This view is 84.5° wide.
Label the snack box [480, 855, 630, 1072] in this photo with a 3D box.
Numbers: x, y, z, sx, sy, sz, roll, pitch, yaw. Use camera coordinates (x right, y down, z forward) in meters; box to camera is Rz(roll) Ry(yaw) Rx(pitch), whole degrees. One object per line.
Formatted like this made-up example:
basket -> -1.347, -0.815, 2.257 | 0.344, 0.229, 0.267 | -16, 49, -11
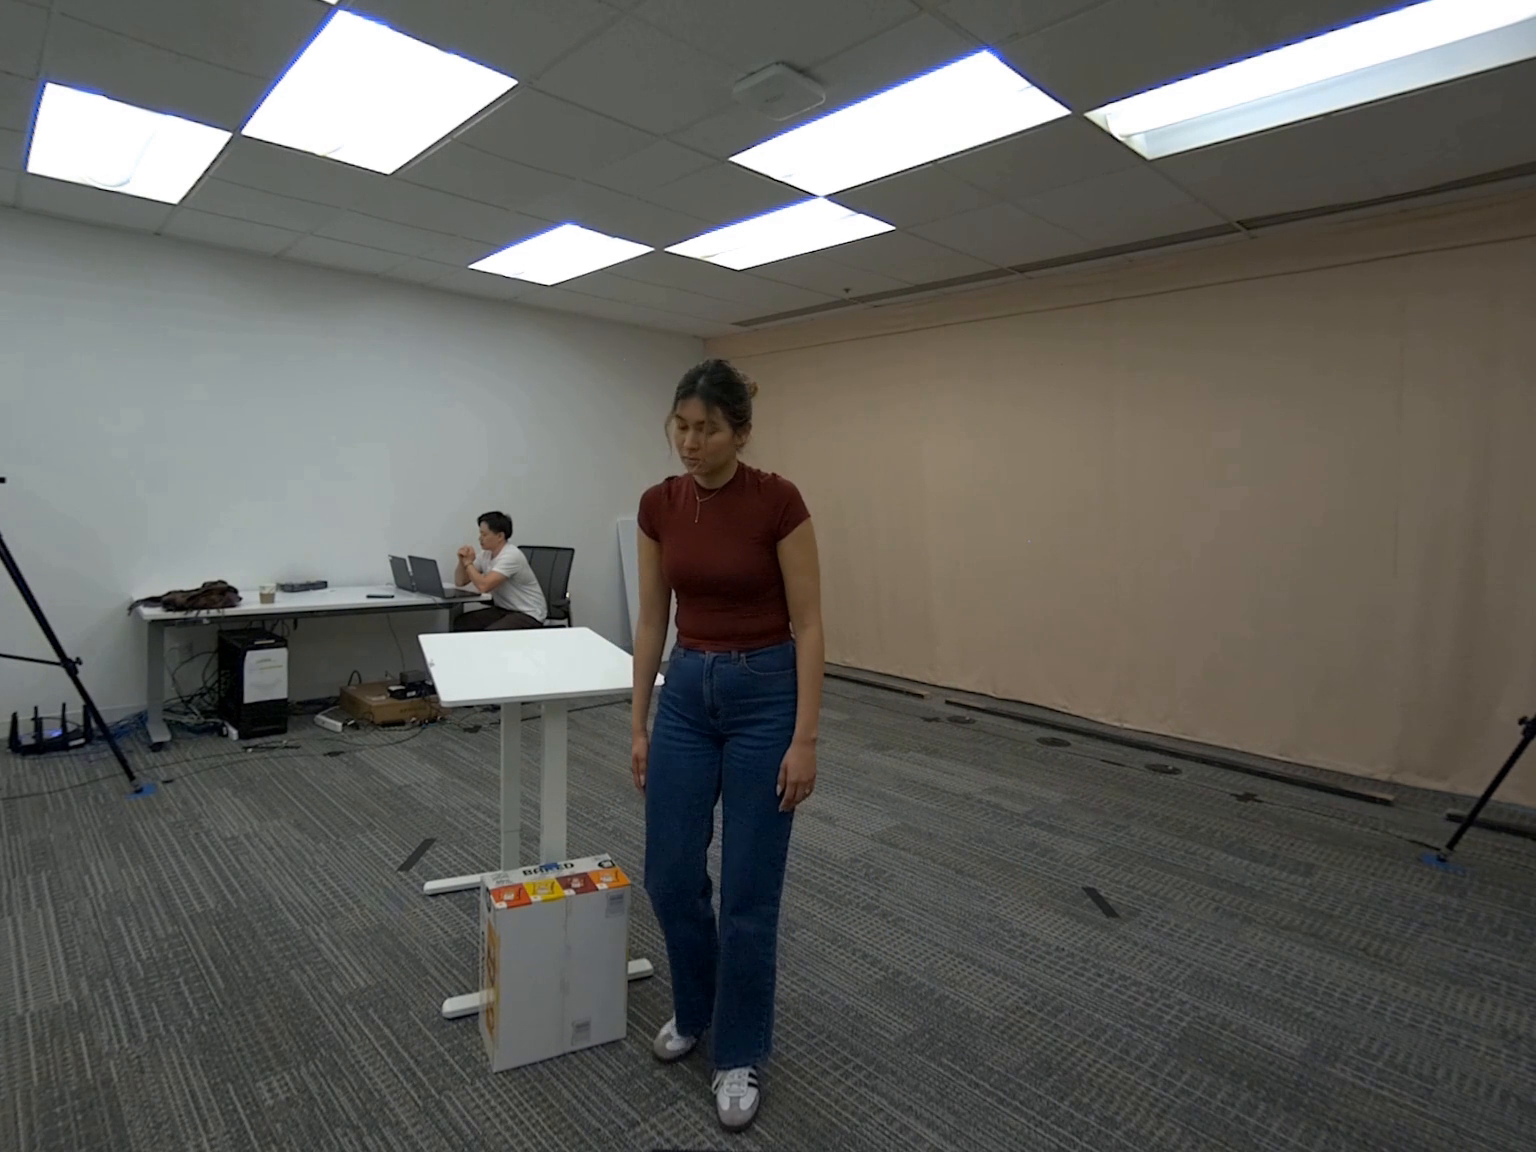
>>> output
snack box -> -0.551, 0.971, 2.155 | 0.334, 0.404, 0.210 | 1, 3, -27
